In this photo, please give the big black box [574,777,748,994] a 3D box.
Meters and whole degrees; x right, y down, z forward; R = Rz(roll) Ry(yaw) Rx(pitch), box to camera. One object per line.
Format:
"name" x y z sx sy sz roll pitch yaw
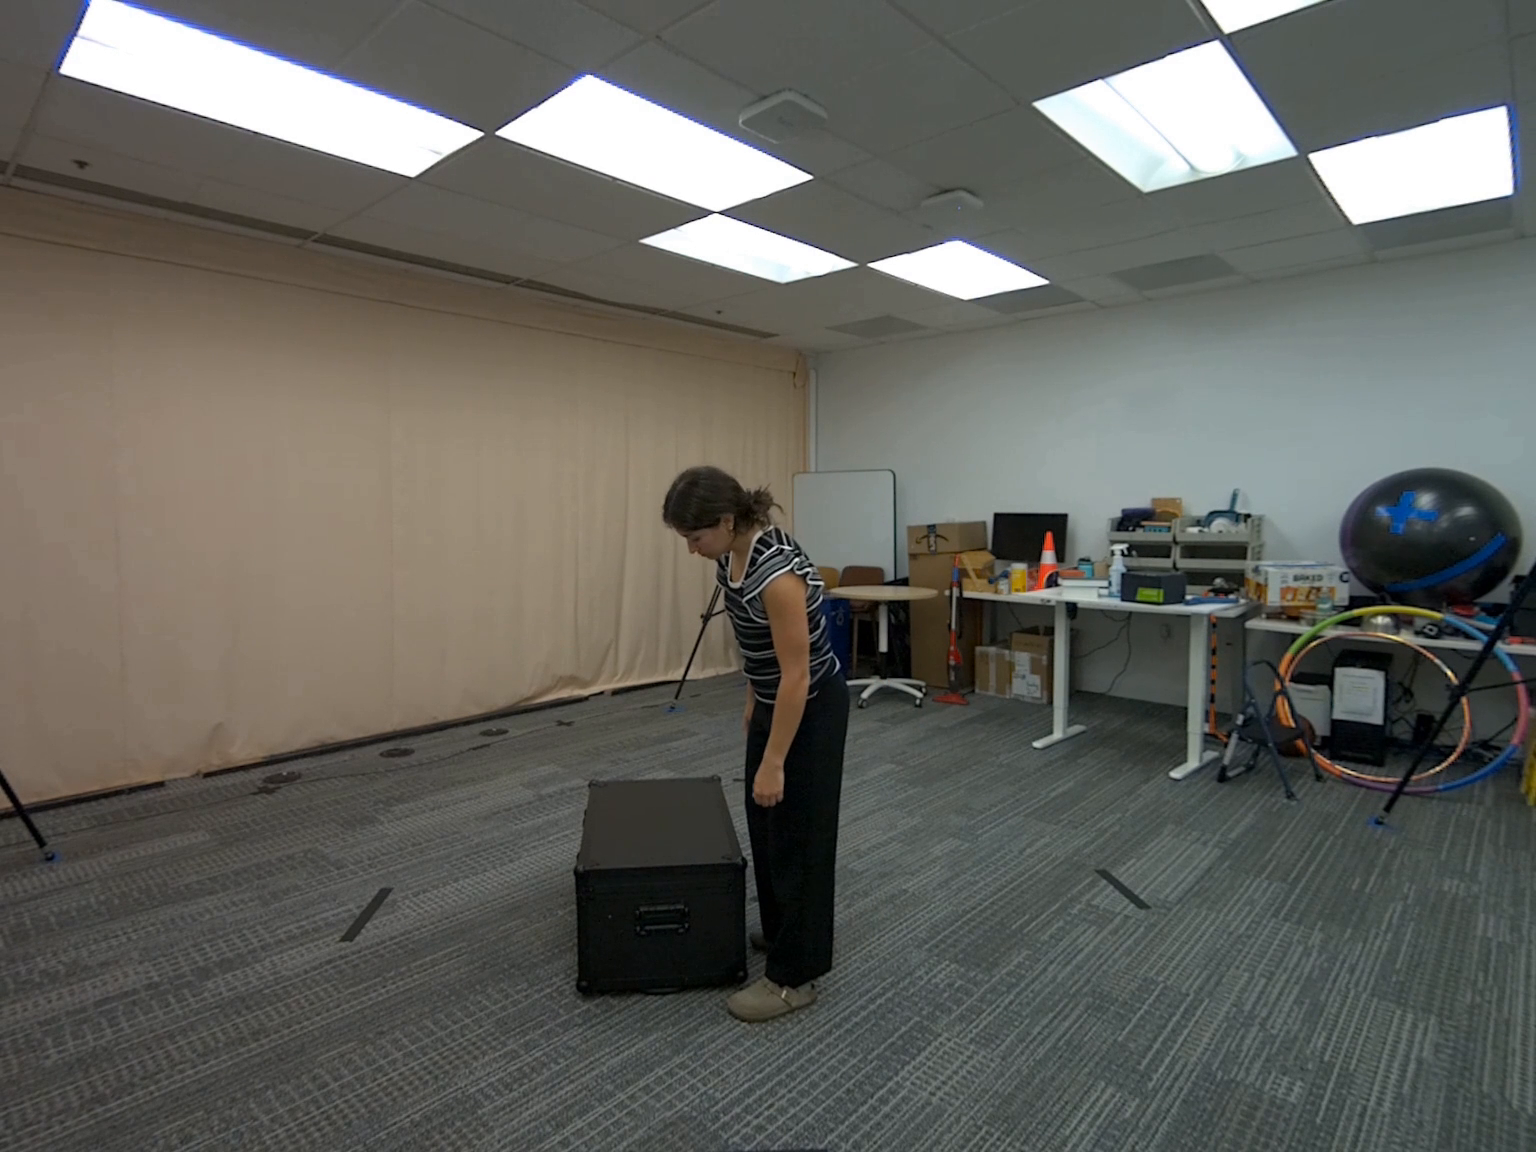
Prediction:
"big black box" -0.362 0.969 2.808 0.517 0.395 0.871 -1 5 -9
